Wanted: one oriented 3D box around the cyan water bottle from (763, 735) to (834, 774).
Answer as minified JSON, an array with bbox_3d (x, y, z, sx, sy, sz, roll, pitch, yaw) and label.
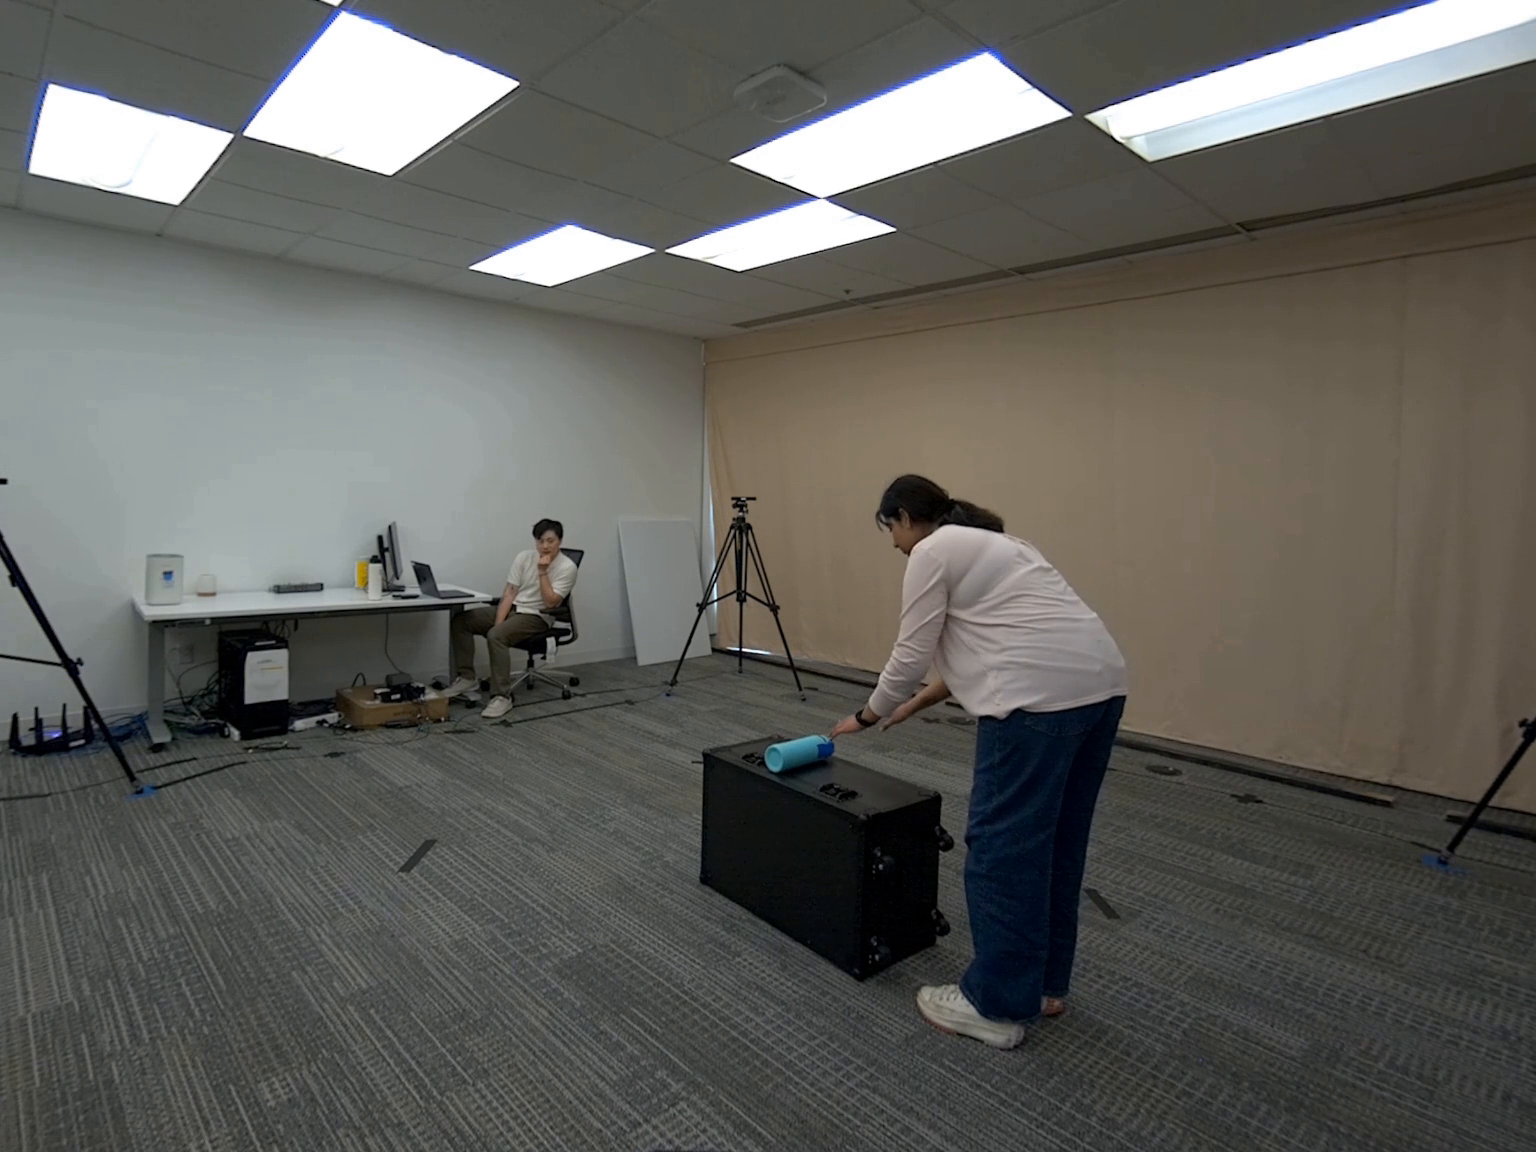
[{"bbox_3d":[0.111,0.603,2.885,0.277,0.092,0.095,-2,5,-44],"label":"cyan water bottle"}]
